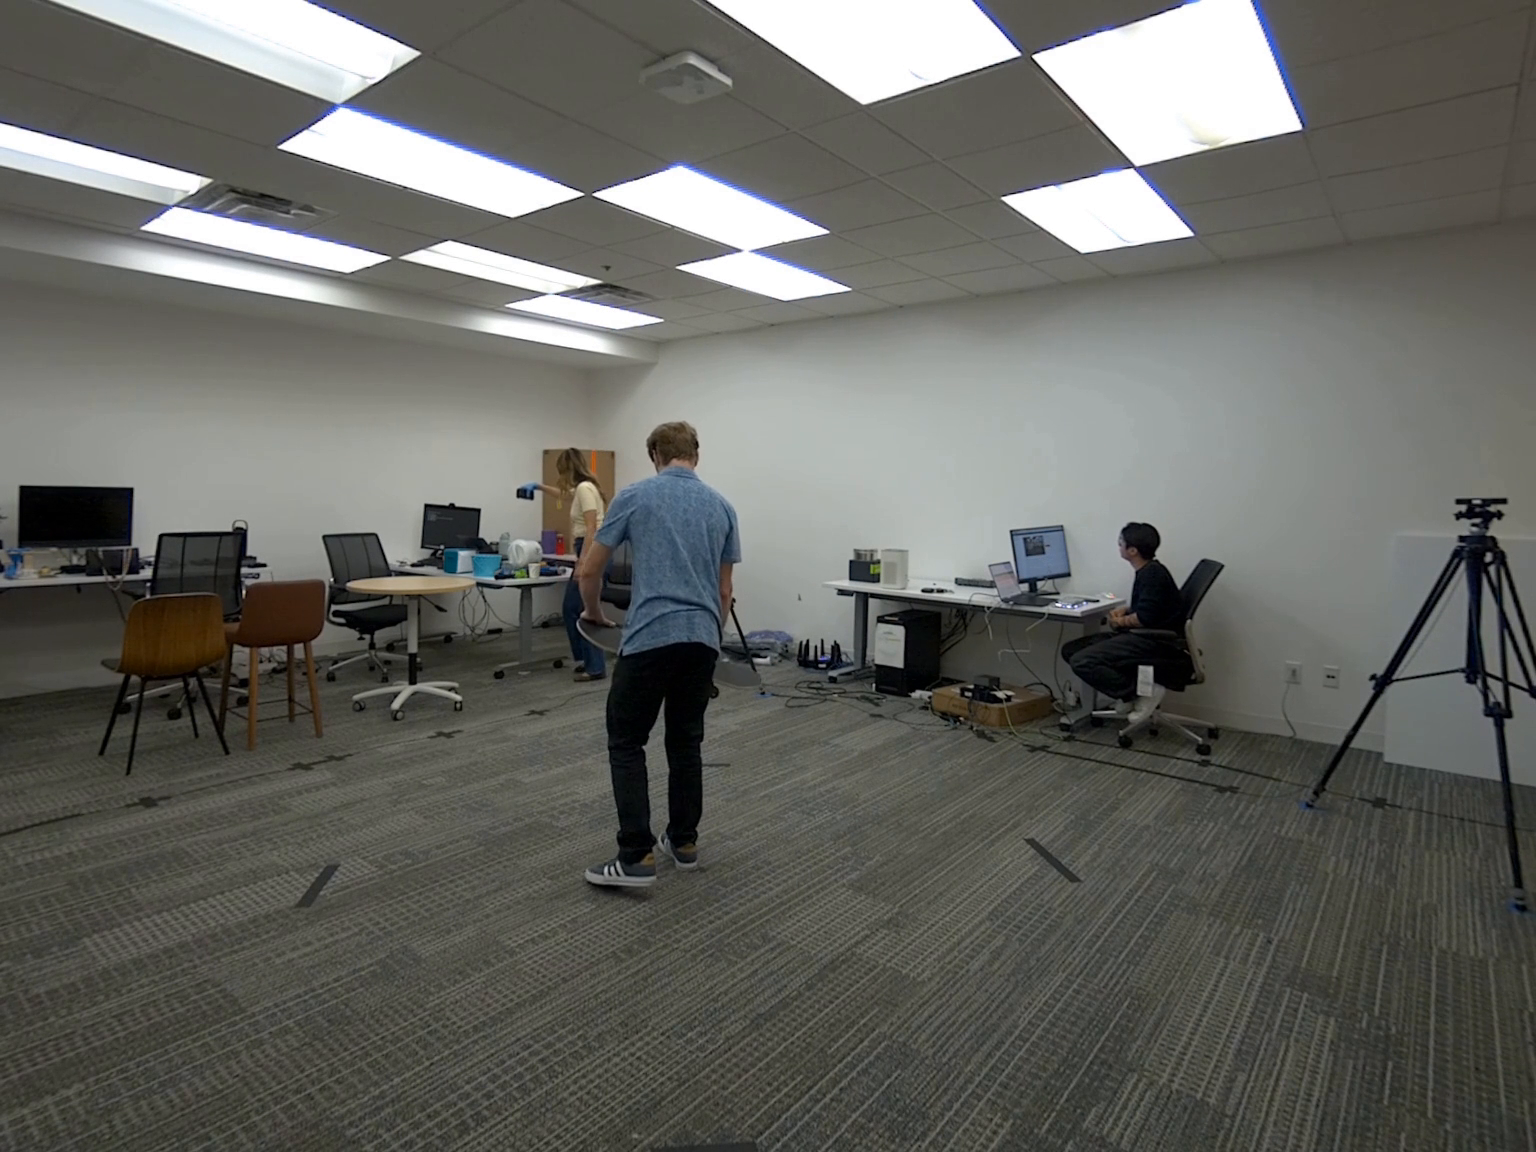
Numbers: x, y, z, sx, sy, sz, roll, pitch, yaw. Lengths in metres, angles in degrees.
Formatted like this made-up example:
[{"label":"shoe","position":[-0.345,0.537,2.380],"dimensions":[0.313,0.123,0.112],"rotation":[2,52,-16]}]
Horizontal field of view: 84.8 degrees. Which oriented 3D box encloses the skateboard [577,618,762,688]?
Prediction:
[{"label":"skateboard","position":[-0.401,0.345,3.382],"dimensions":[0.771,0.109,0.199],"rotation":[19,19,-15]}]
